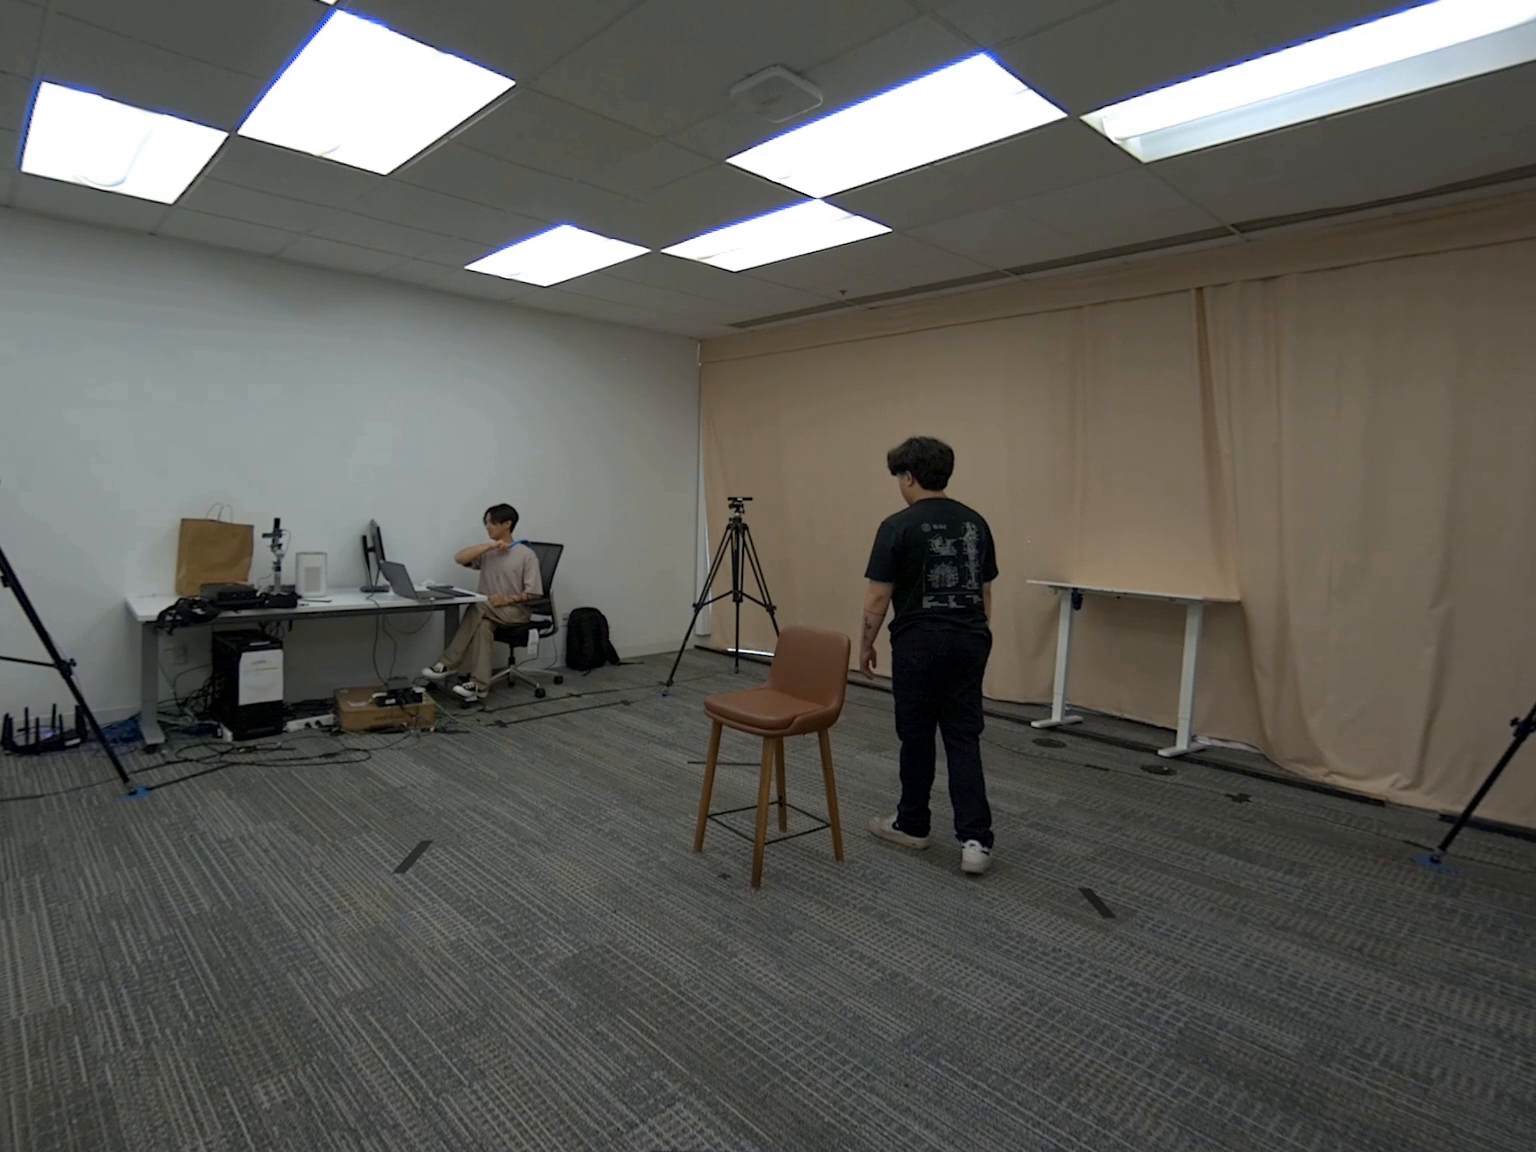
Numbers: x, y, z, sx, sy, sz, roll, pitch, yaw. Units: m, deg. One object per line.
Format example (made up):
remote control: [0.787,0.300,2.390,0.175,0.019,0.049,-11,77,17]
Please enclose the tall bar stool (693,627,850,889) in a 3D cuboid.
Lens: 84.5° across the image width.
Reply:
tall bar stool: [0.021,0.660,3.270,0.457,0.889,0.468,2,2,-37]
